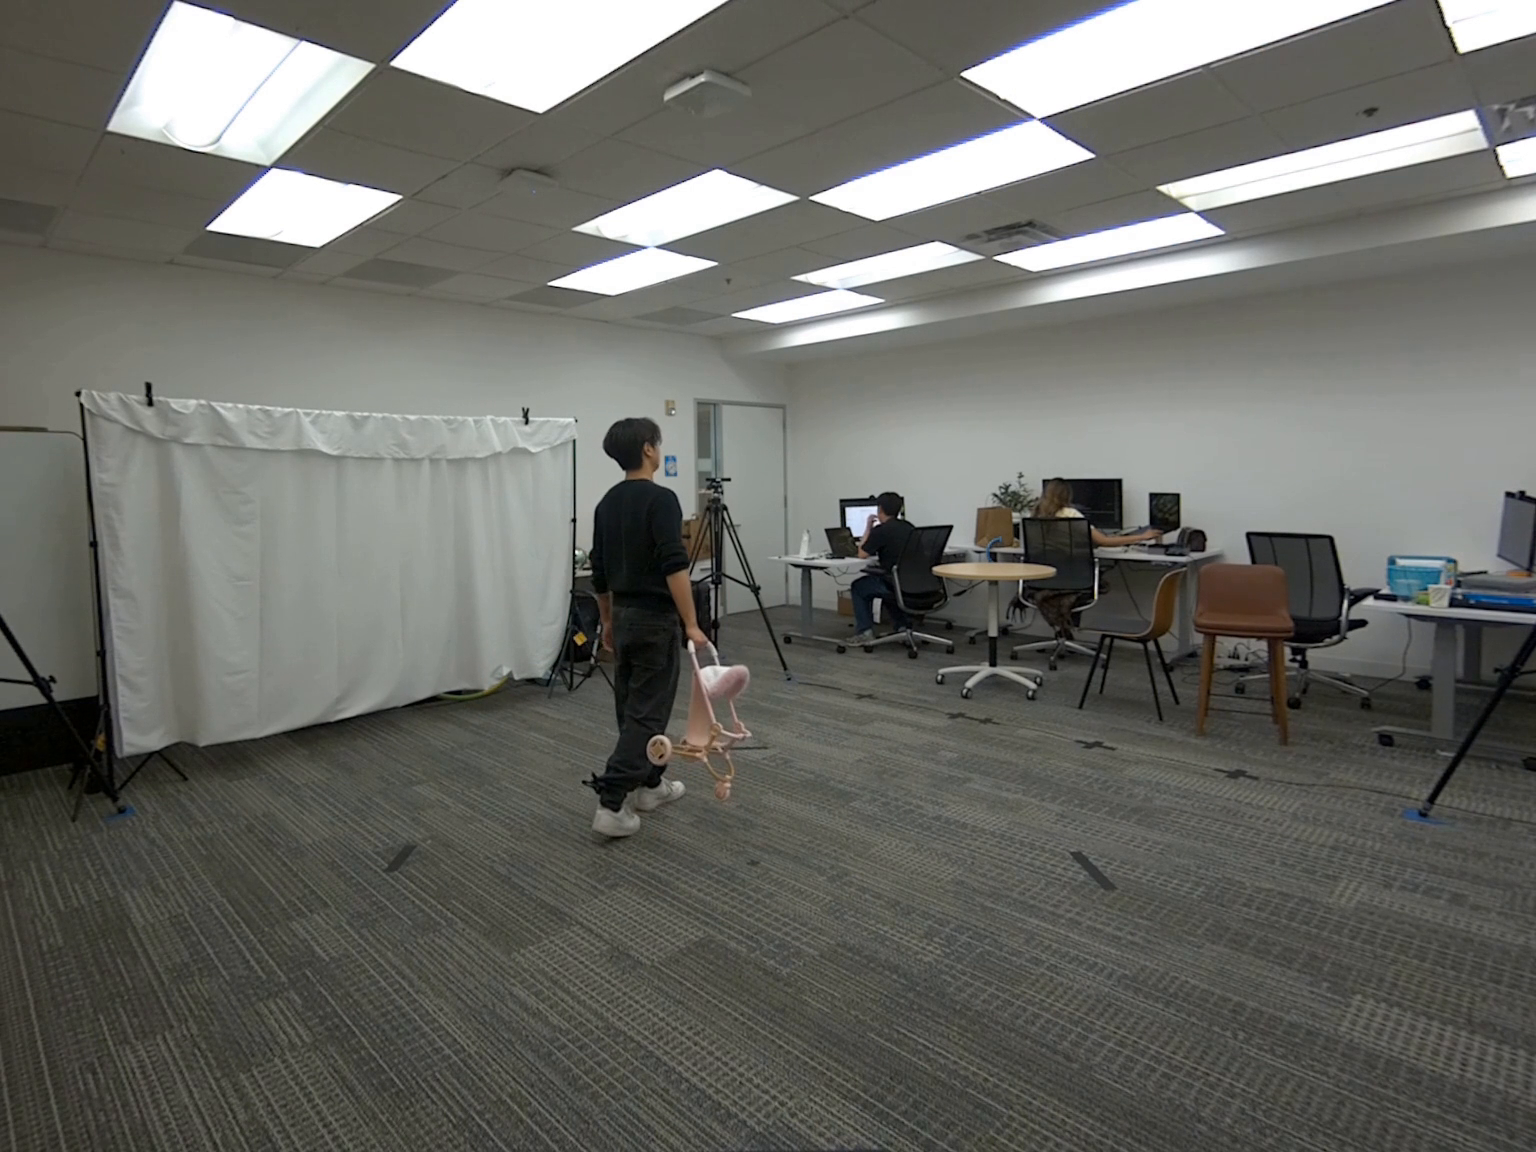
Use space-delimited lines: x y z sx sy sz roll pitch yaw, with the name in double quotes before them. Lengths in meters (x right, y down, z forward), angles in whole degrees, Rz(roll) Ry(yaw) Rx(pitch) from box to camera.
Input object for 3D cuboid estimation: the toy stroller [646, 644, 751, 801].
"toy stroller" -0.211 0.550 3.246 0.352 0.536 0.272 17 -3 31
